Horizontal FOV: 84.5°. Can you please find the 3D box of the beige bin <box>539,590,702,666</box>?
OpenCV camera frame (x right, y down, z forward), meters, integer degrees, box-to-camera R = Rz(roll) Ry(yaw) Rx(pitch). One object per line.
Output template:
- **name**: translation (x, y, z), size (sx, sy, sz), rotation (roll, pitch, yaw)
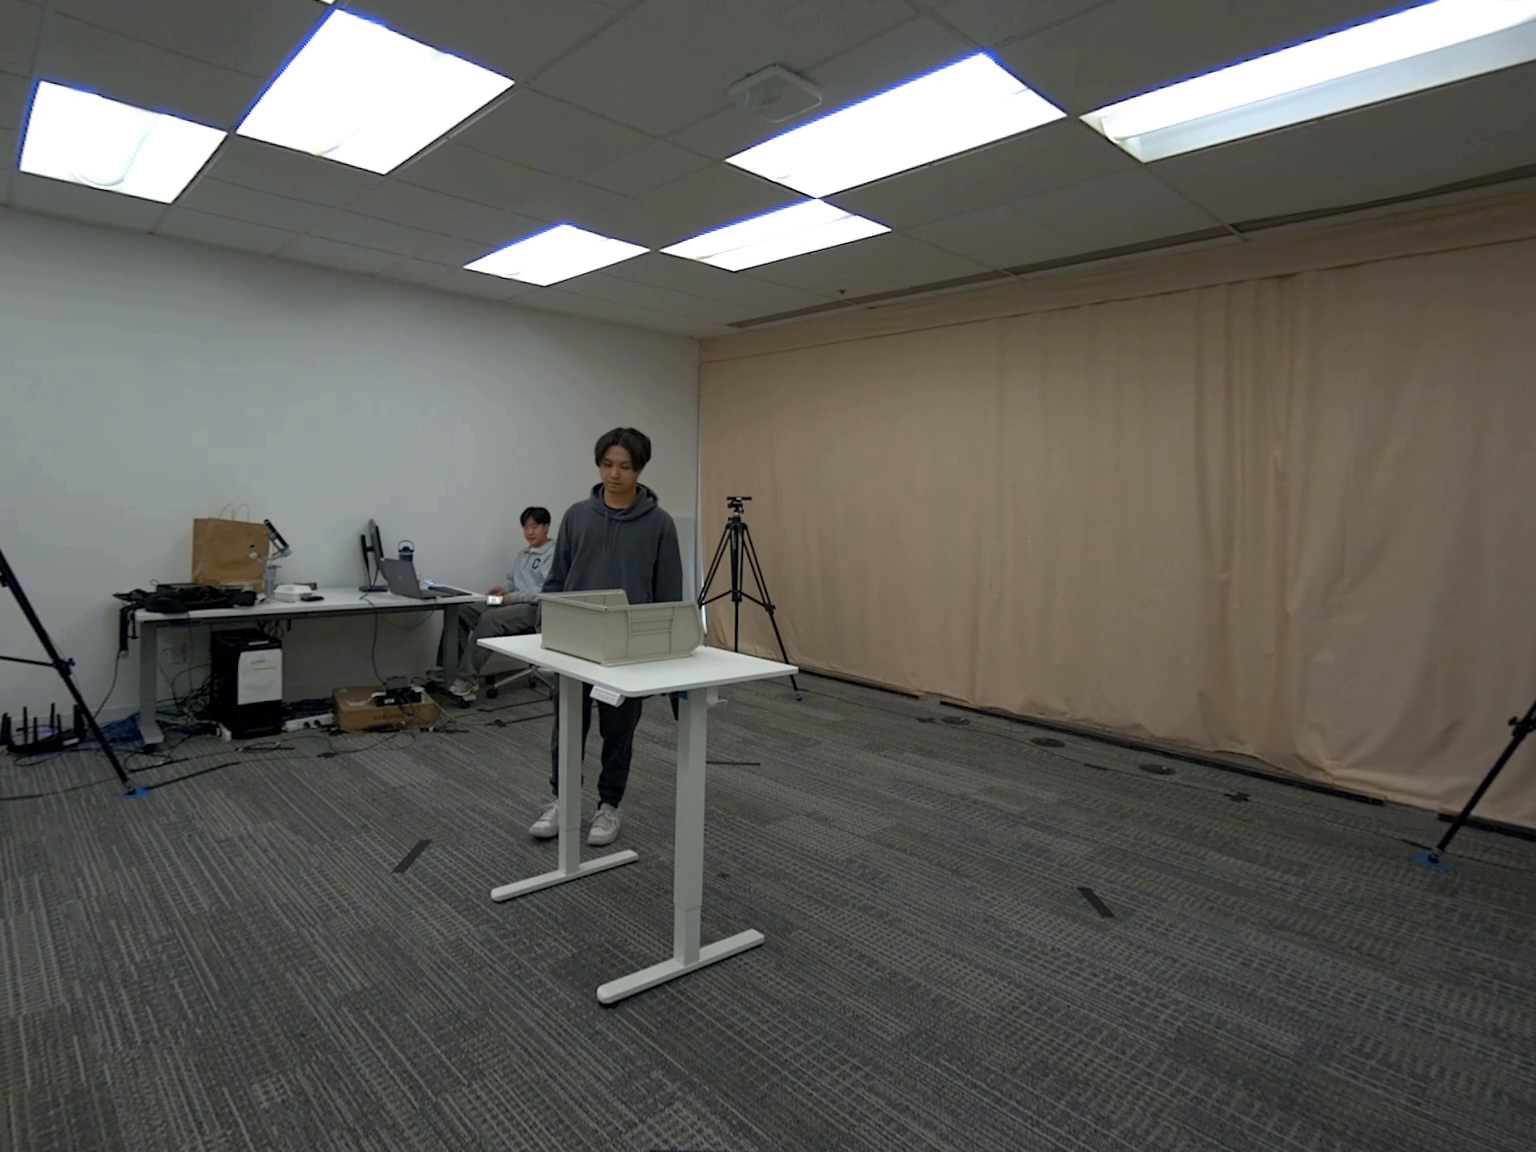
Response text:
- **beige bin**: translation (-0.491, 0.162, 2.732), size (0.369, 0.188, 0.433), rotation (-4, 6, -42)
